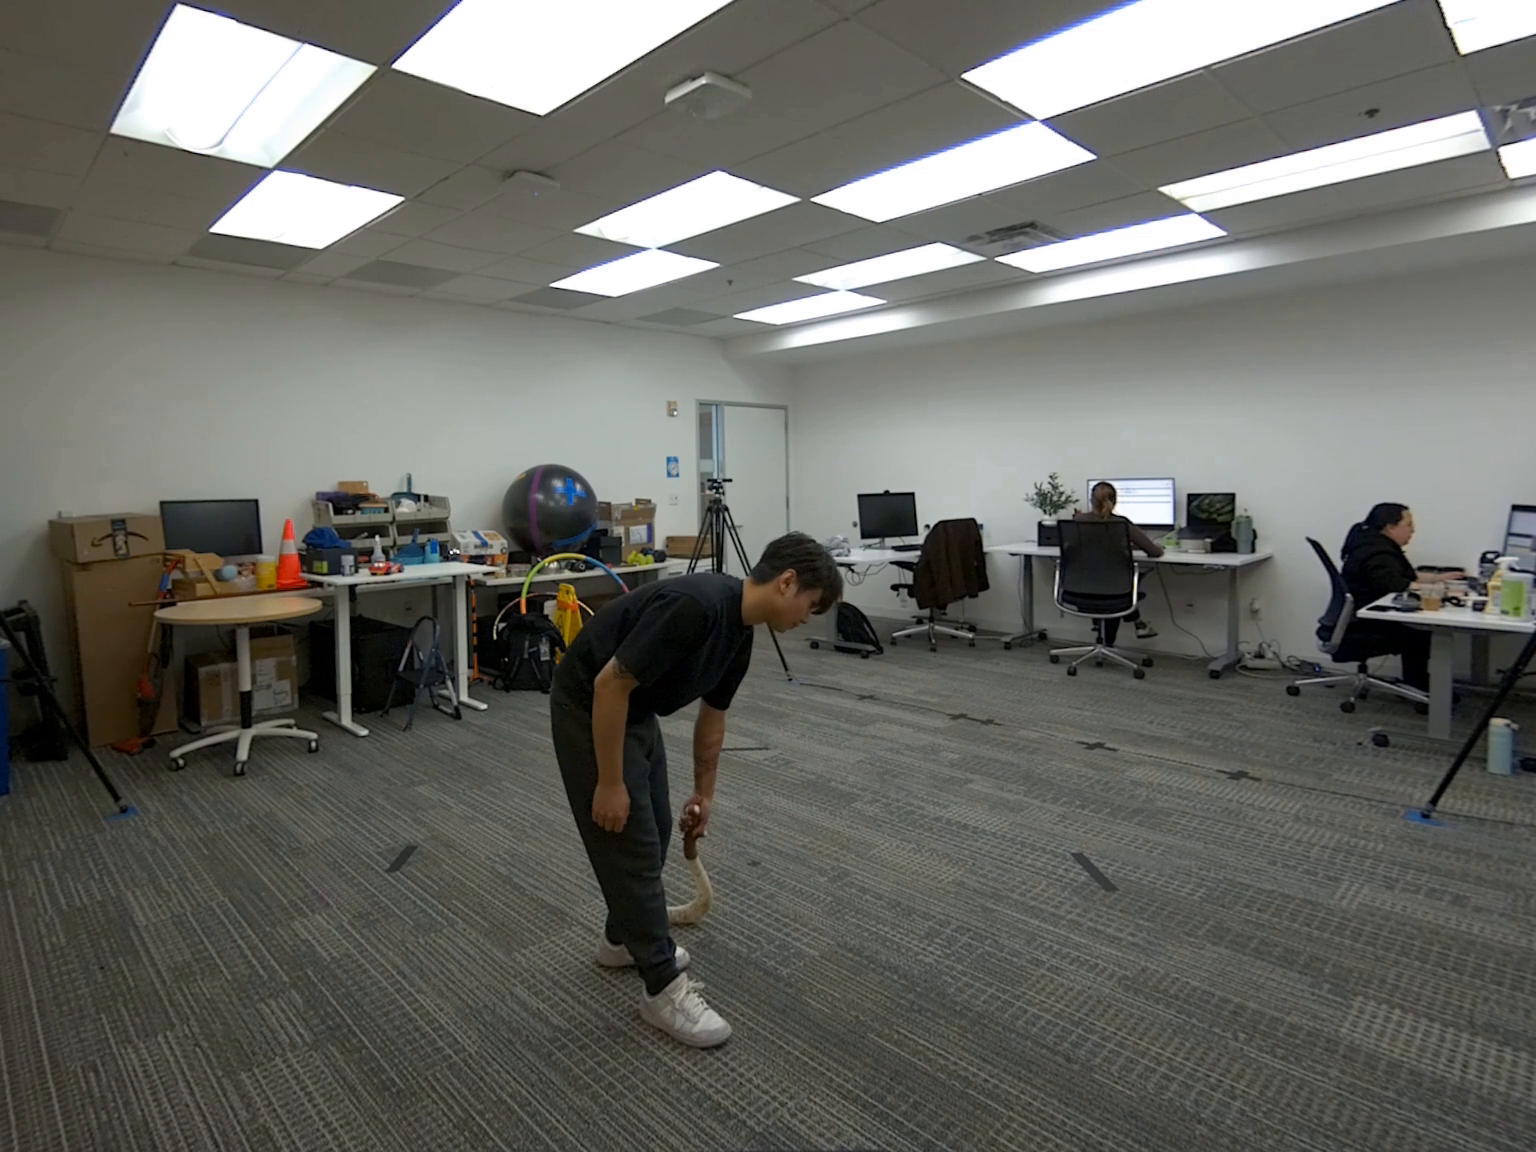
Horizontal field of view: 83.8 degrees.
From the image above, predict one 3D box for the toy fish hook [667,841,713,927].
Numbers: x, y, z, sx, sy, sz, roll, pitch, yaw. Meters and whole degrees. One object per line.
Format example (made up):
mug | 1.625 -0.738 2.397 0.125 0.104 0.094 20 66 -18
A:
toy fish hook | -0.276 0.885 2.577 0.223 0.496 0.049 -1 28 -7
